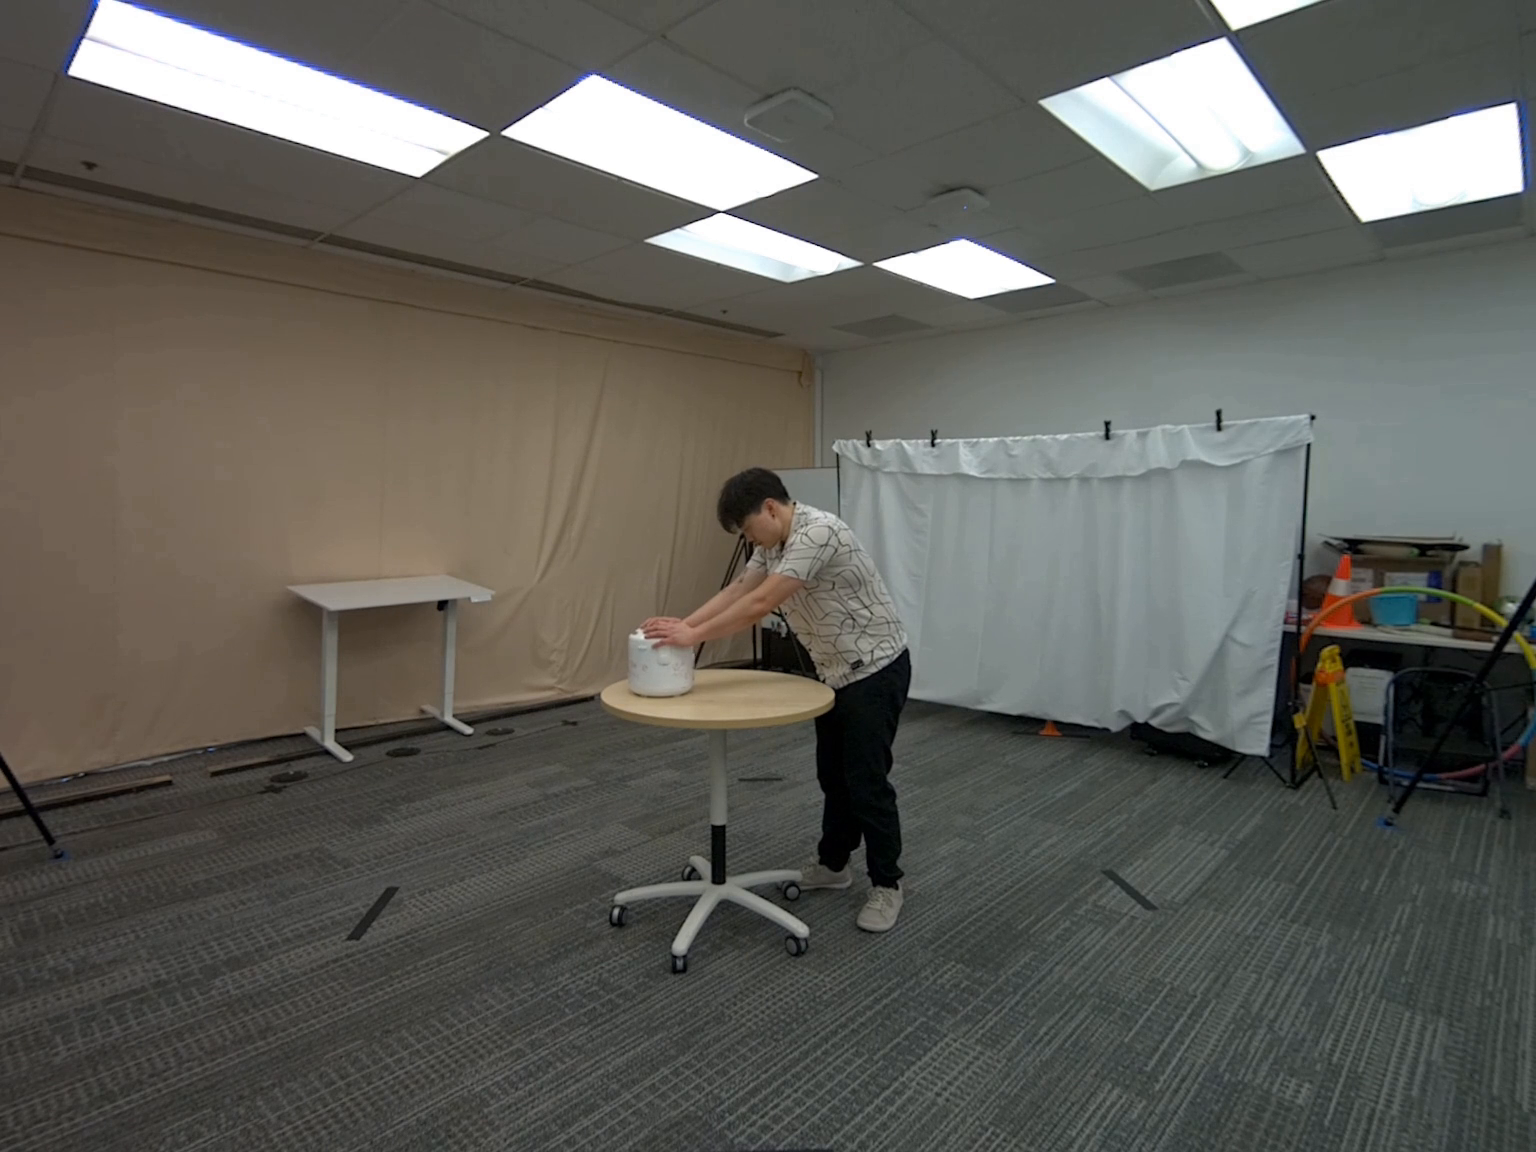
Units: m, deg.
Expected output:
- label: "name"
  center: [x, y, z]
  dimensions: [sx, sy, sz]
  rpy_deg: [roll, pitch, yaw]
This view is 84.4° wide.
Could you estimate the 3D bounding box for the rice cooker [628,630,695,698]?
- label: "rice cooker"
  center: [-0.347, 0.270, 2.761]
  dimensions: [0.215, 0.232, 0.223]
  rpy_deg: [-1, 3, -10]
